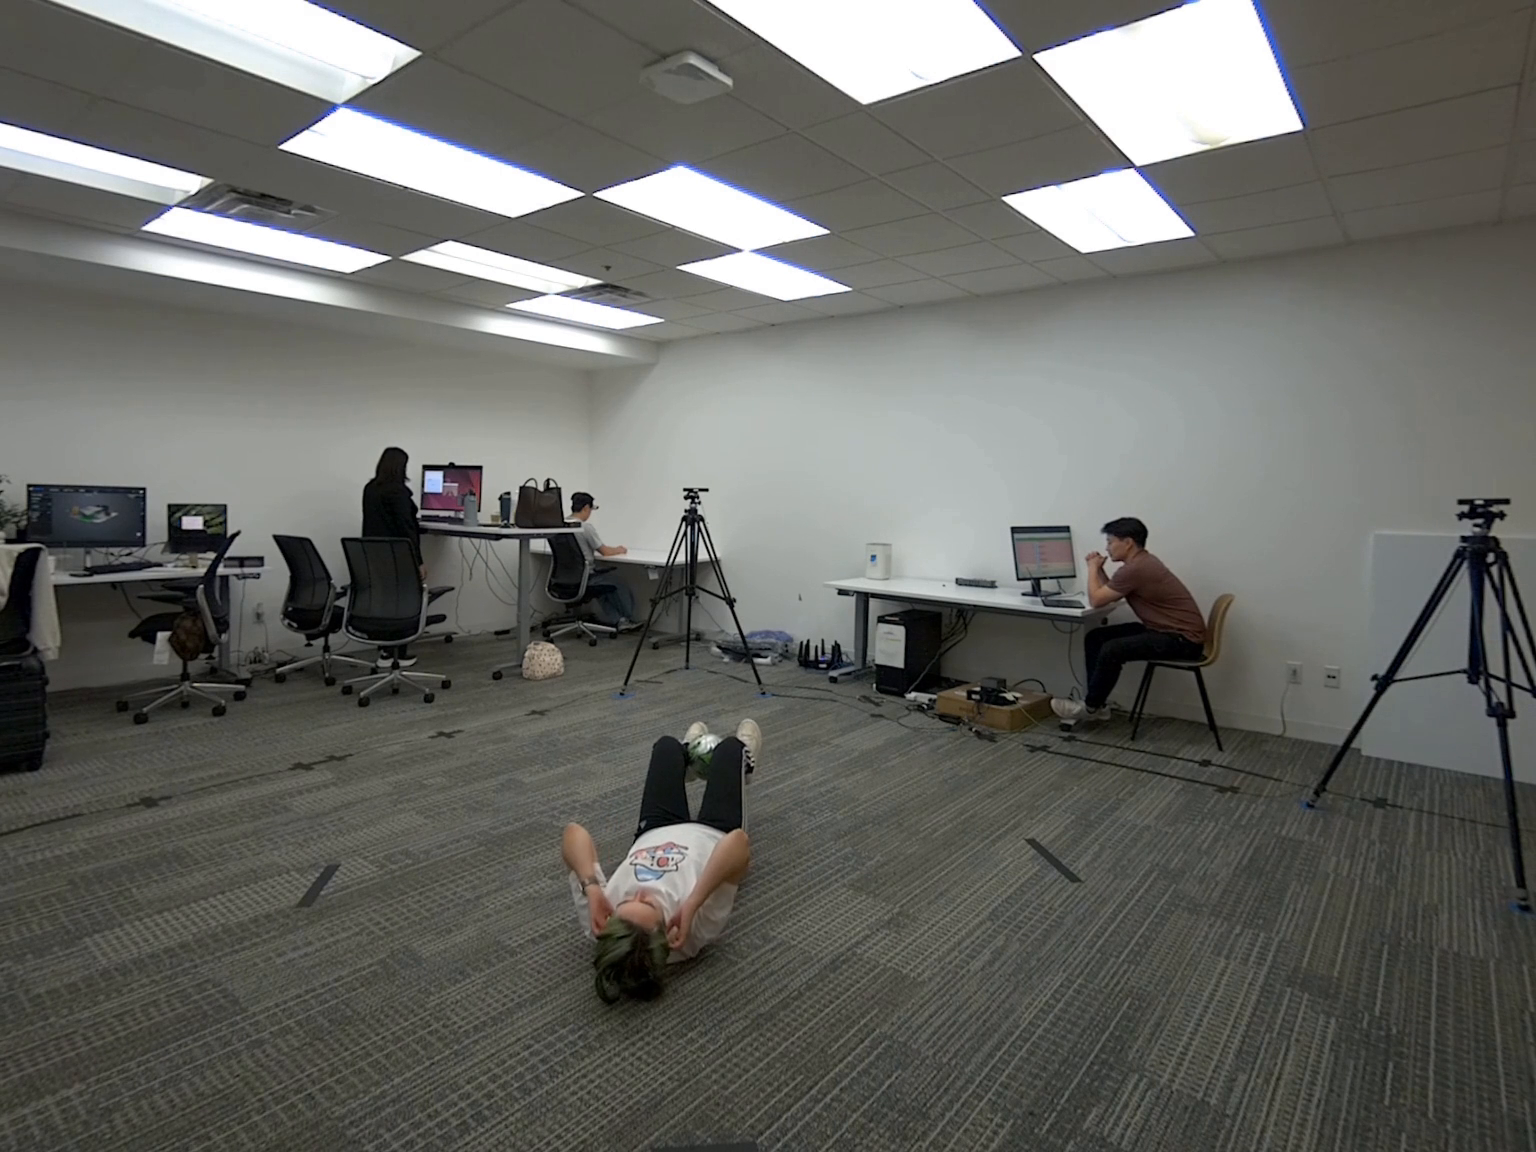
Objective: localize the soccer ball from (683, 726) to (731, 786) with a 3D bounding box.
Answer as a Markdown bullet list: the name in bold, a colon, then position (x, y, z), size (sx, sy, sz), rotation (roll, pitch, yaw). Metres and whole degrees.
- **soccer ball**: position (-0.252, 0.738, 3.459), size (0.187, 0.187, 0.188), rotation (1, 4, -2)
